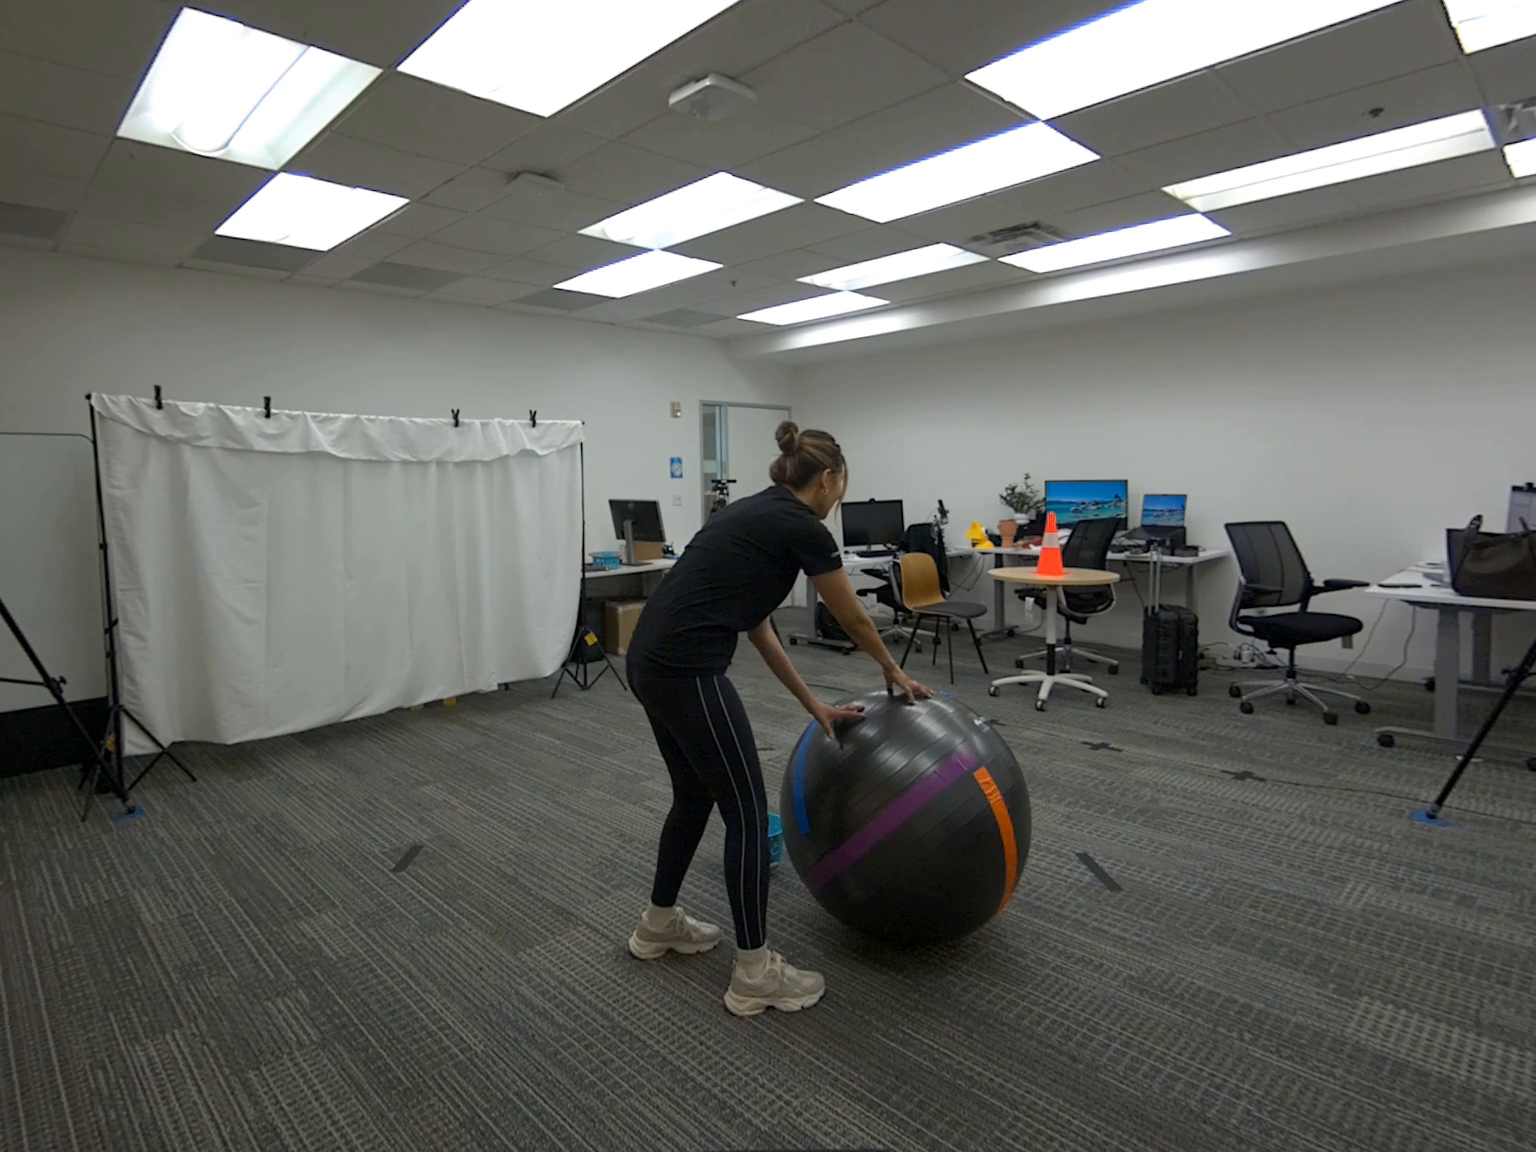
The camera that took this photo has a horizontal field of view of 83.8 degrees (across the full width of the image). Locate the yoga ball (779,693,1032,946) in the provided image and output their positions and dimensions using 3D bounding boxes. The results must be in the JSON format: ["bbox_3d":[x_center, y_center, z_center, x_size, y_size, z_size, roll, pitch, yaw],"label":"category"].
[{"bbox_3d":[0.428,0.733,2.633,0.757,0.755,0.762,-1,5,-2],"label":"yoga ball"}]
